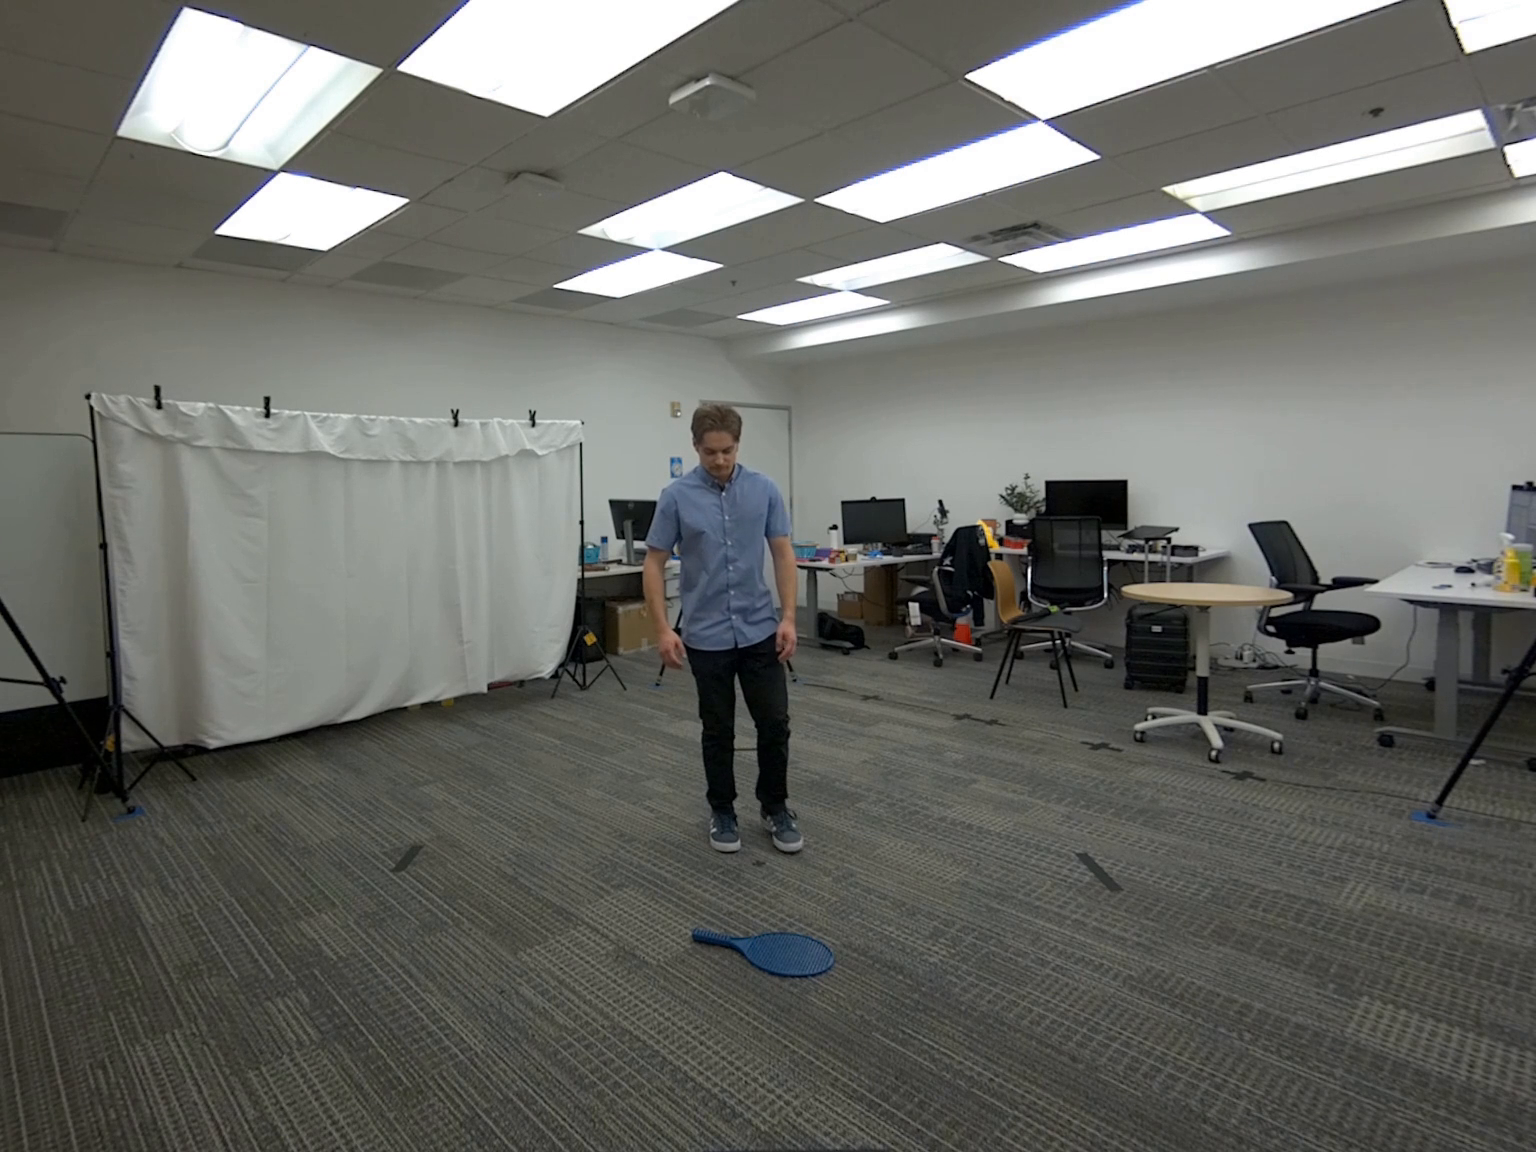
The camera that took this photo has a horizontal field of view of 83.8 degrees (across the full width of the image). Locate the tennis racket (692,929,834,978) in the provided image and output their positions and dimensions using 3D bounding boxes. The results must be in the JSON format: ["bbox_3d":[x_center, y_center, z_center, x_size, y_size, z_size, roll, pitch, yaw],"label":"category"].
[{"bbox_3d":[-0.015,1.102,2.532,0.442,0.031,0.210,3,7,21],"label":"tennis racket"}]
